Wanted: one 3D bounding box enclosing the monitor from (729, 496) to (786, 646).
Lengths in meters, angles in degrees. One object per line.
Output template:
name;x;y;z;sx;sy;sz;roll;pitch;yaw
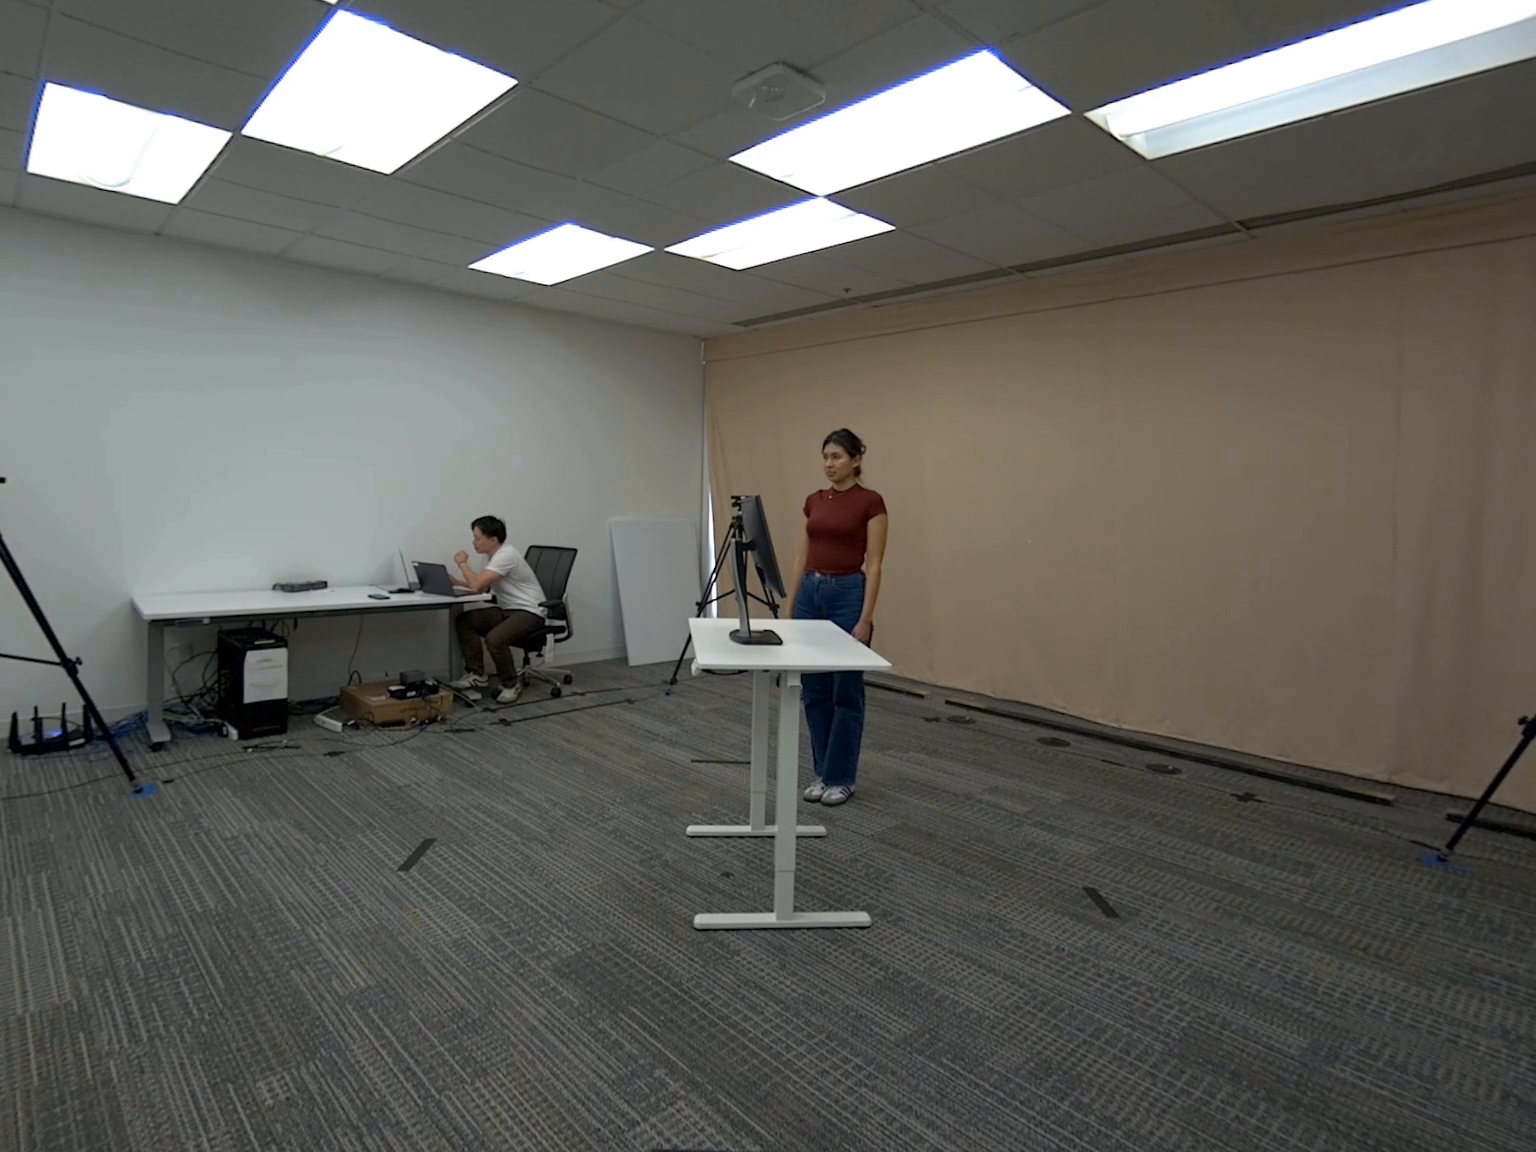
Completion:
monitor;-0.058;-0.024;3.033;0.186;0.521;0.544;-1;4;-9
